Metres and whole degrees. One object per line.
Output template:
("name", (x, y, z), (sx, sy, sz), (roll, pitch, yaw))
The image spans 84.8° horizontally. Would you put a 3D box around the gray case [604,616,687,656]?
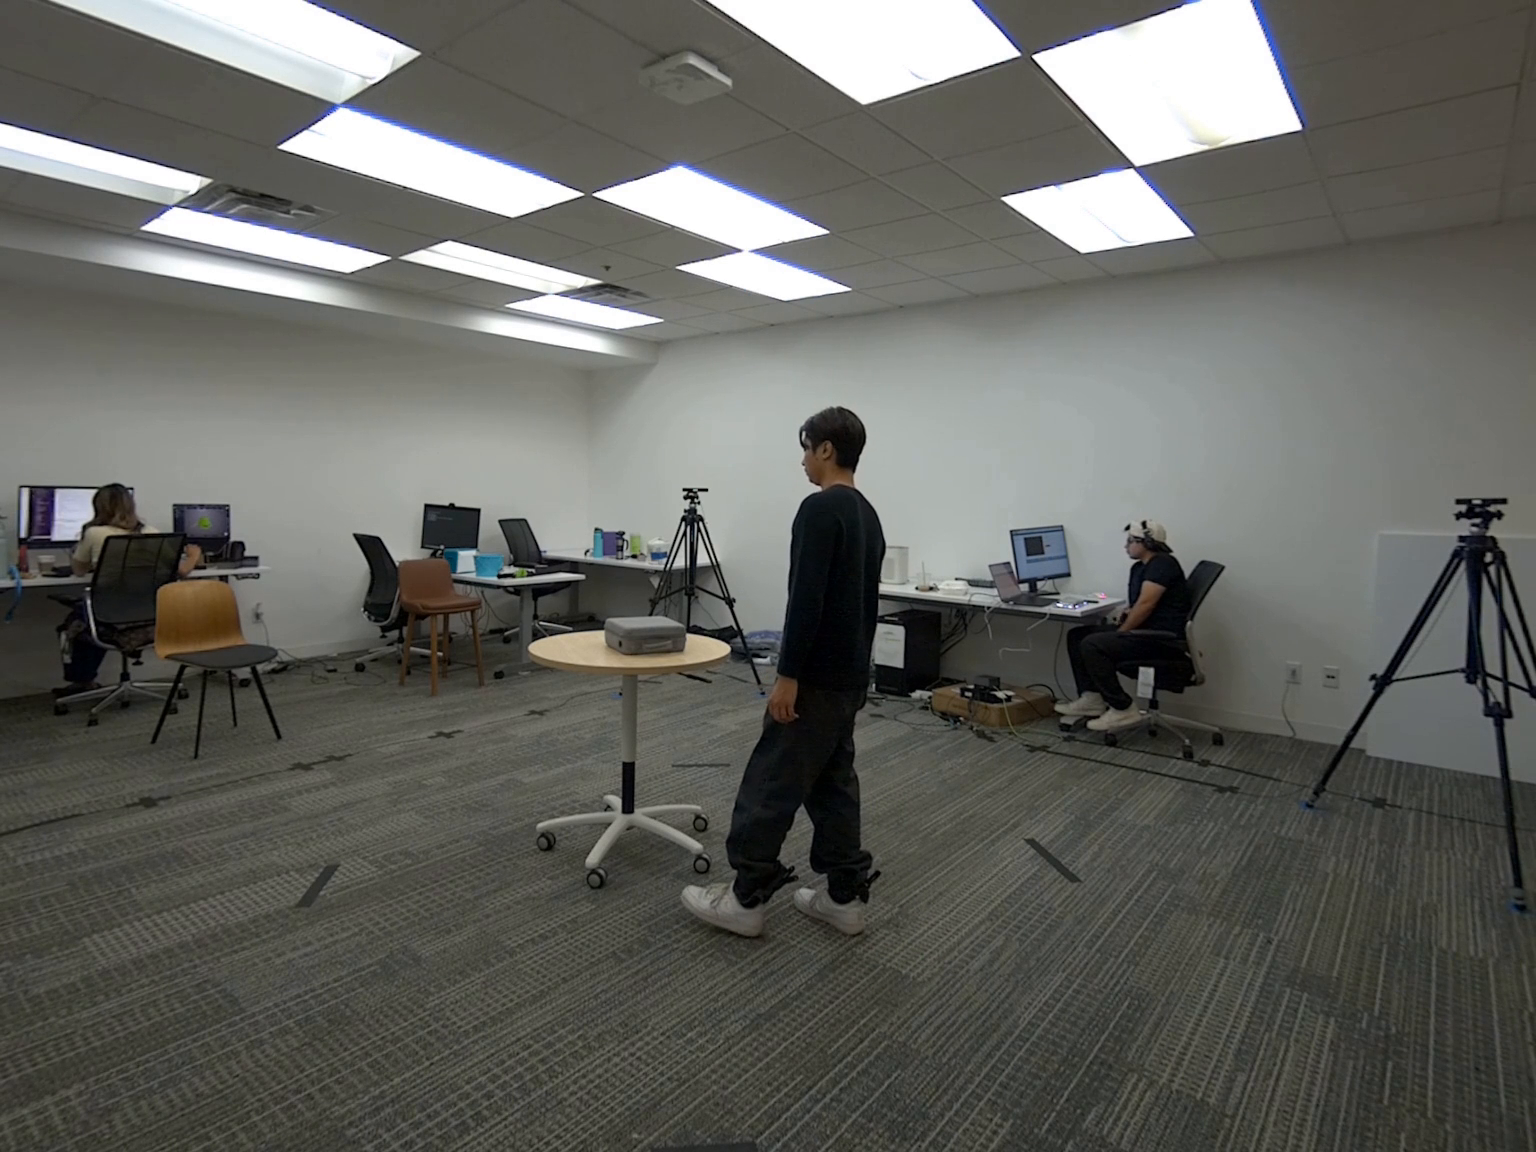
("gray case", (-0.472, 0.218, 3.212), (0.250, 0.104, 0.268), (0, 6, -28))
